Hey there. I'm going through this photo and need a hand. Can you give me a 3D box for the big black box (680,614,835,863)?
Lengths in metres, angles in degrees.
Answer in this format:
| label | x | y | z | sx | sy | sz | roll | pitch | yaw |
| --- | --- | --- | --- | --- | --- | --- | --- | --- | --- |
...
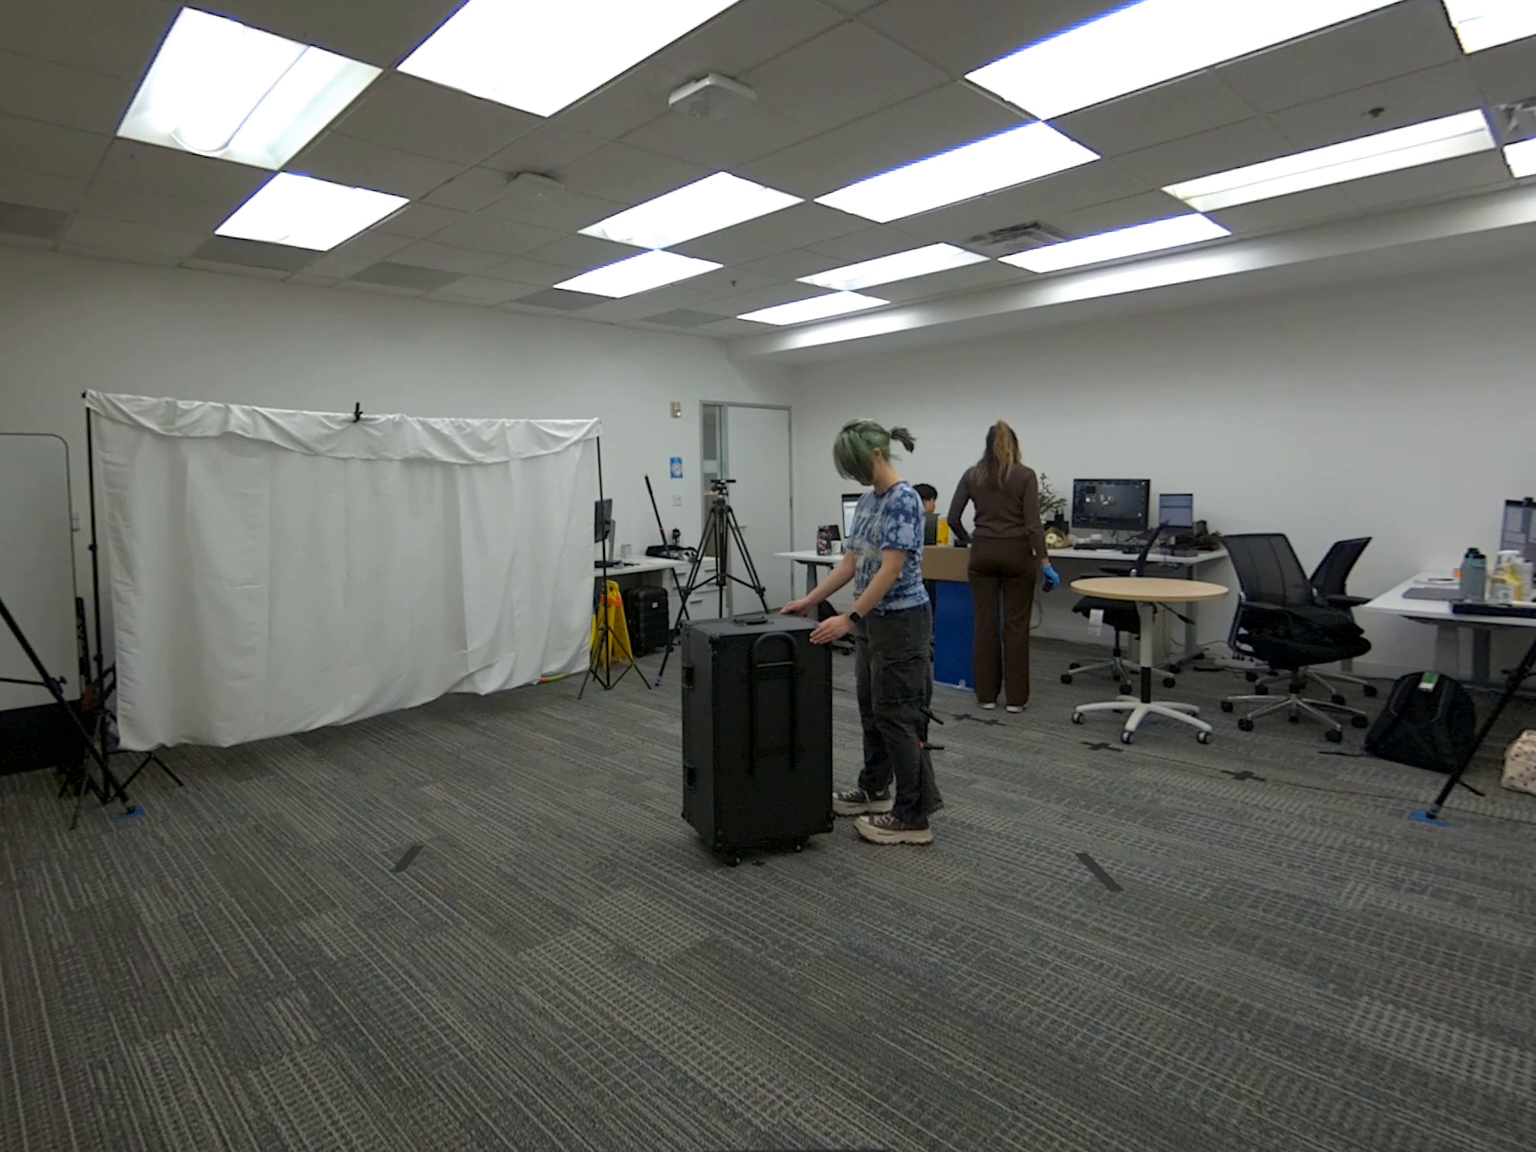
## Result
| label | x | y | z | sx | sy | sz | roll | pitch | yaw |
| --- | --- | --- | --- | --- | --- | --- | --- | --- | --- |
| big black box | -0.036 | 0.607 | 3.254 | 0.511 | 0.858 | 0.405 | -2 | 5 | -22 |
